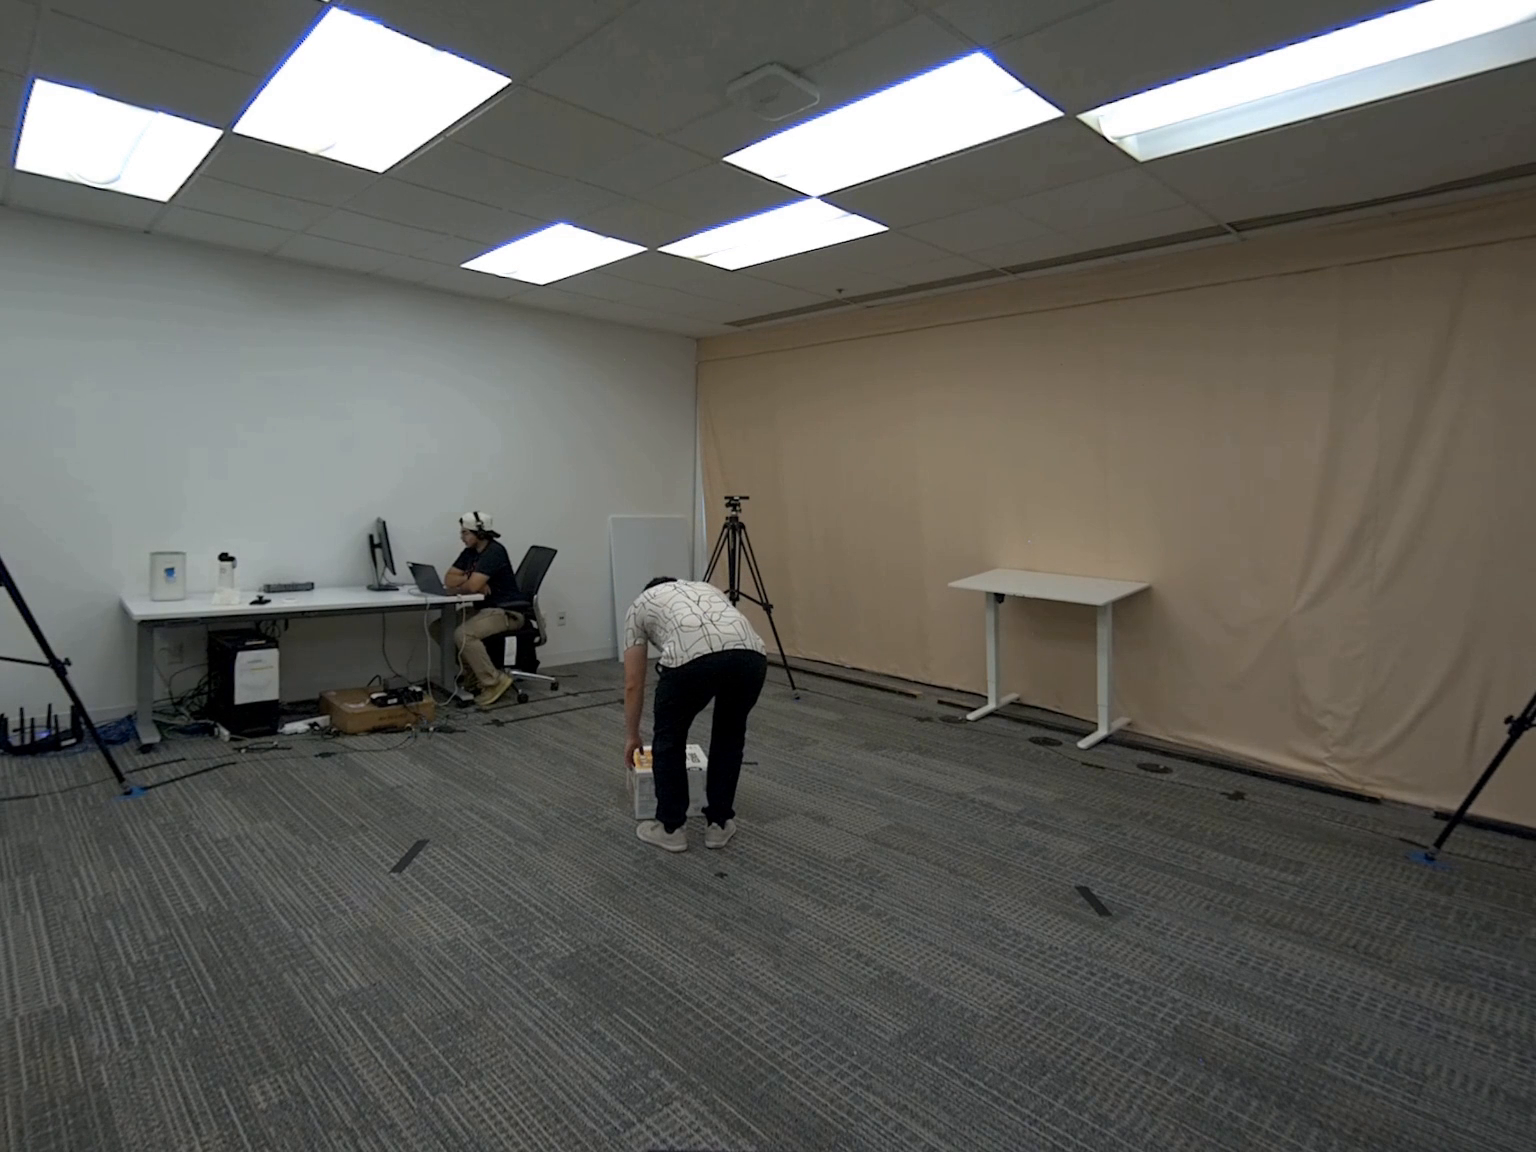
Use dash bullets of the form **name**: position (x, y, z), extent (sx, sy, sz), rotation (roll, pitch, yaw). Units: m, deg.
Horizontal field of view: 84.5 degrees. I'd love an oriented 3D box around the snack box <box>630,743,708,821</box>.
- **snack box**: position (-0.462, 0.928, 3.839), extent (0.337, 0.205, 0.411), rotation (0, 5, -14)
